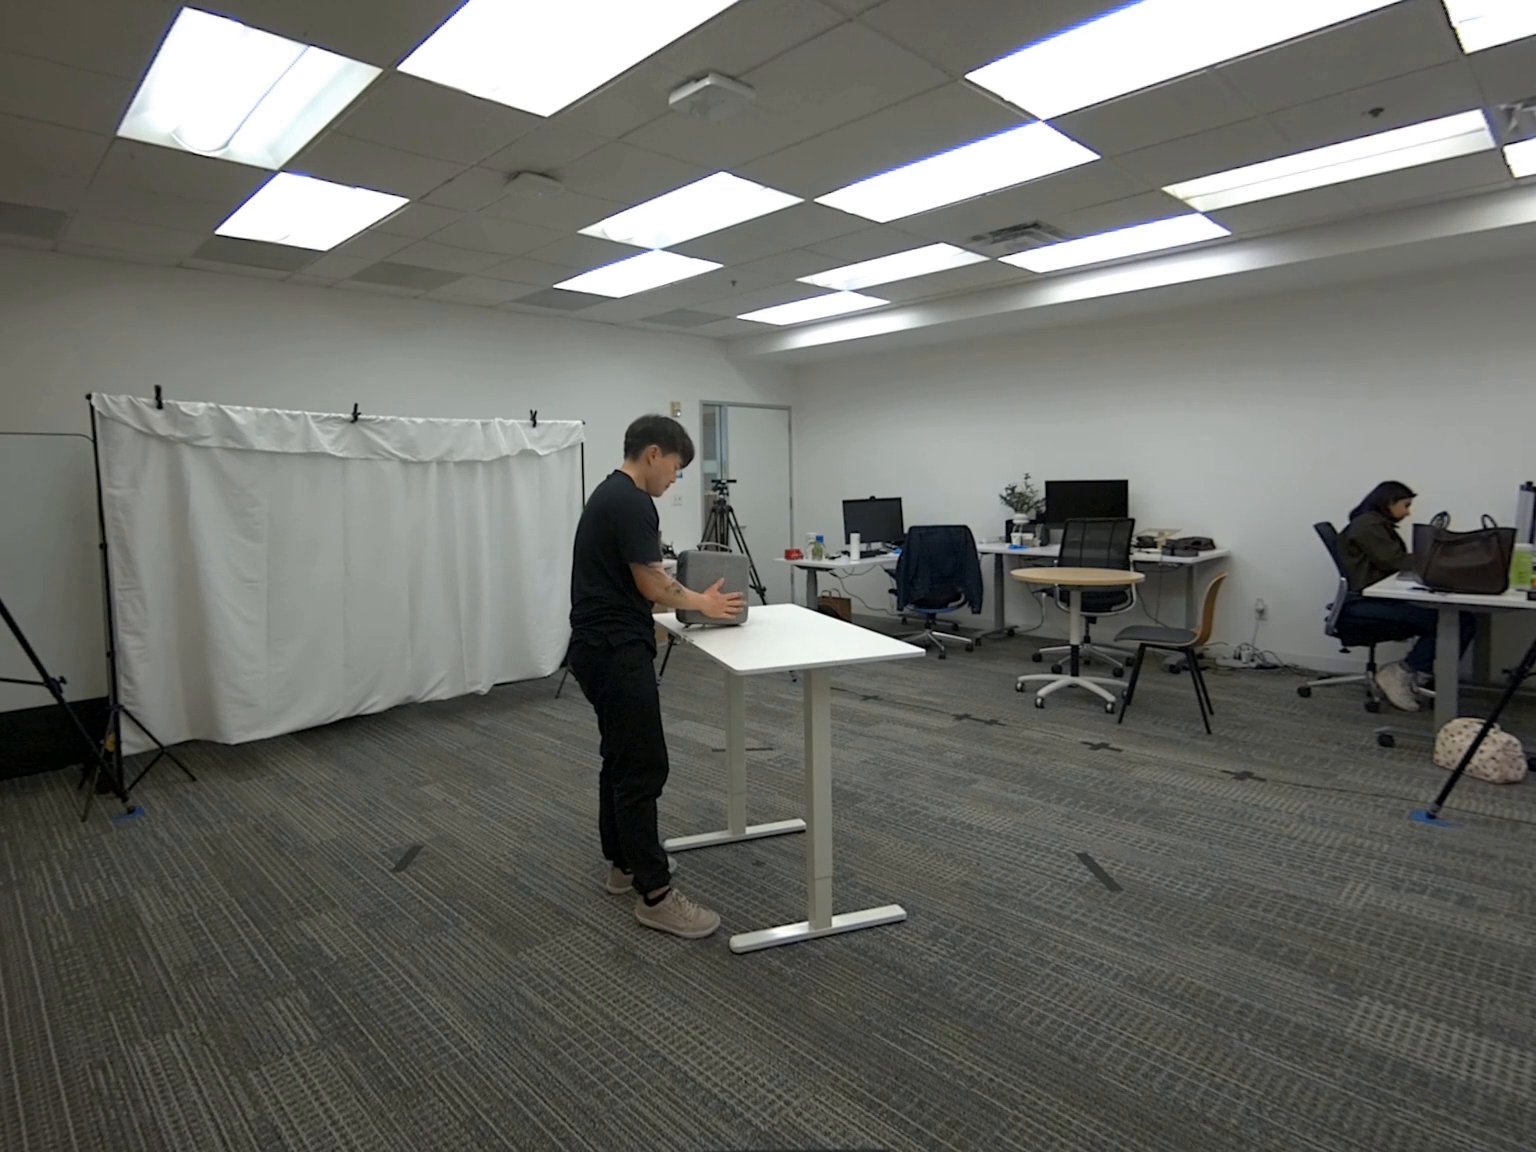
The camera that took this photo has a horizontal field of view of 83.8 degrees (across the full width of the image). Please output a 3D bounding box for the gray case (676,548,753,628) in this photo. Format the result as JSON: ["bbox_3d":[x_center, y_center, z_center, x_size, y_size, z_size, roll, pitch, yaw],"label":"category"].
[{"bbox_3d":[-0.186,0.034,2.998,0.251,0.261,0.106,3,-2,-25],"label":"gray case"}]
